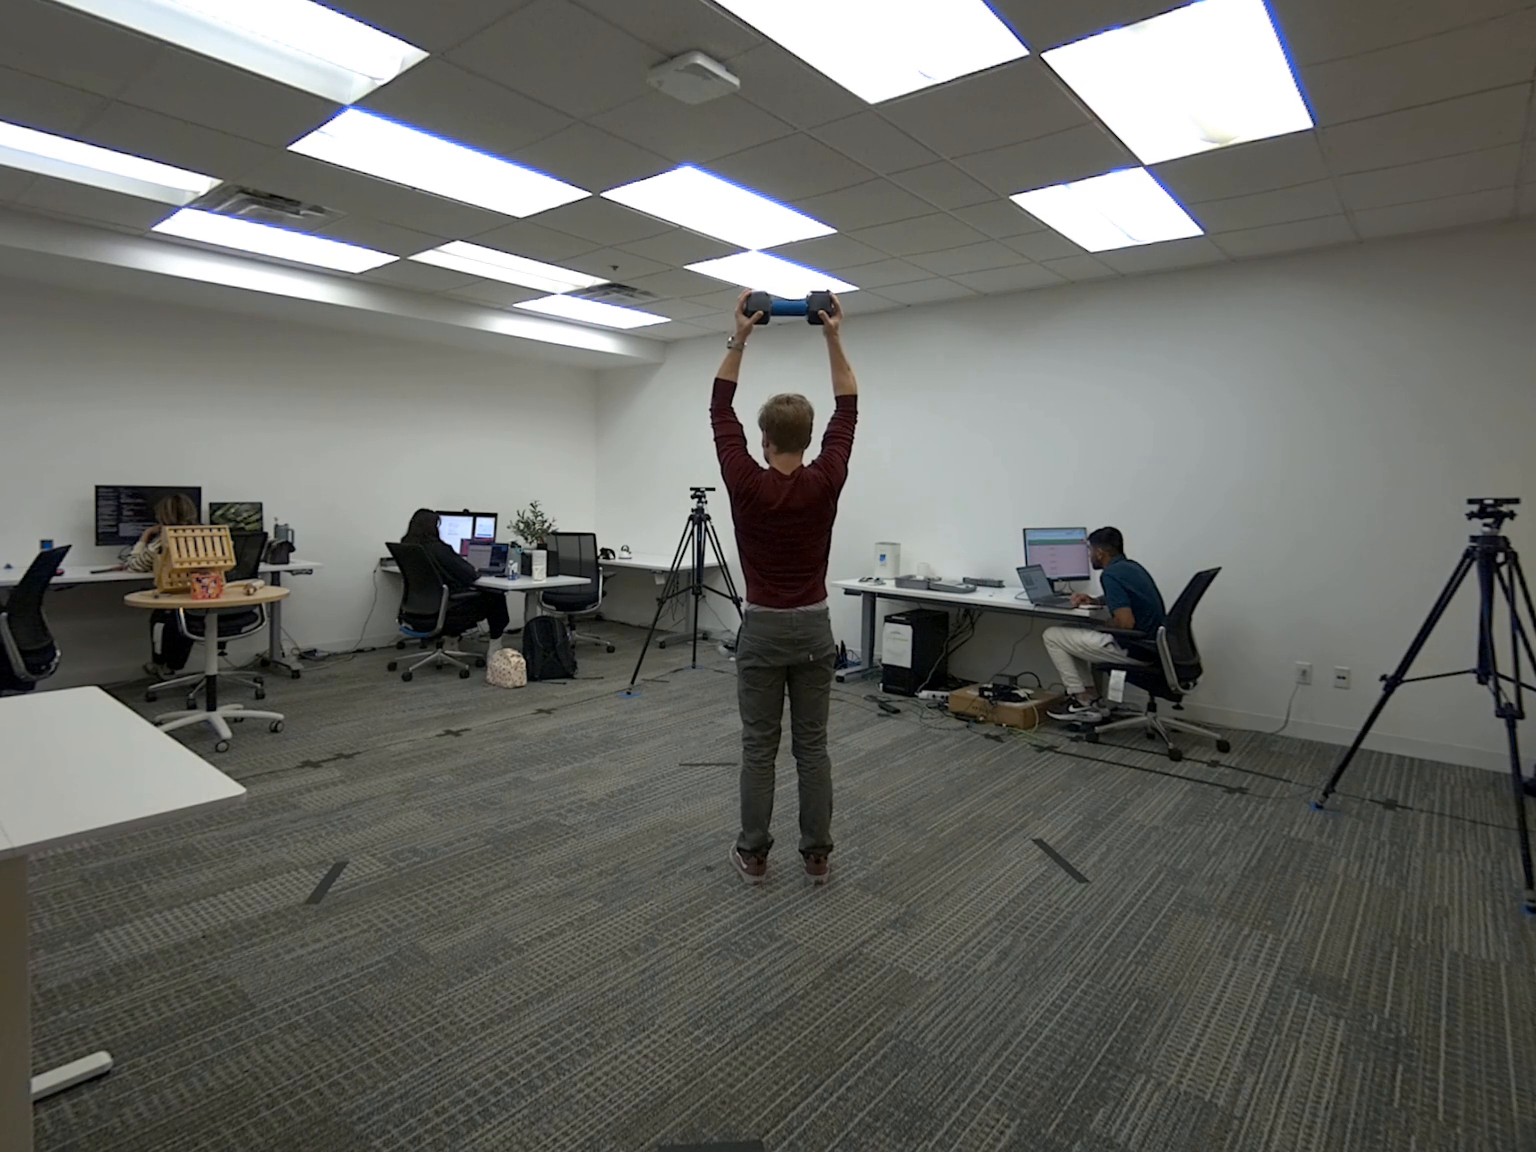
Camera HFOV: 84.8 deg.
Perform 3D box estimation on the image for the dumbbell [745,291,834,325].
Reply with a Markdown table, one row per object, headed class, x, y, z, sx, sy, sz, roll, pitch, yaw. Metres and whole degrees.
| class | x | y | z | sx | sy | sz | roll | pitch | yaw |
| --- | --- | --- | --- | --- | --- | --- | --- | --- | --- |
| dumbbell | 0.061 | -0.926 | 2.921 | 0.292 | 0.112 | 0.120 | 0 | -31 | -3 |
